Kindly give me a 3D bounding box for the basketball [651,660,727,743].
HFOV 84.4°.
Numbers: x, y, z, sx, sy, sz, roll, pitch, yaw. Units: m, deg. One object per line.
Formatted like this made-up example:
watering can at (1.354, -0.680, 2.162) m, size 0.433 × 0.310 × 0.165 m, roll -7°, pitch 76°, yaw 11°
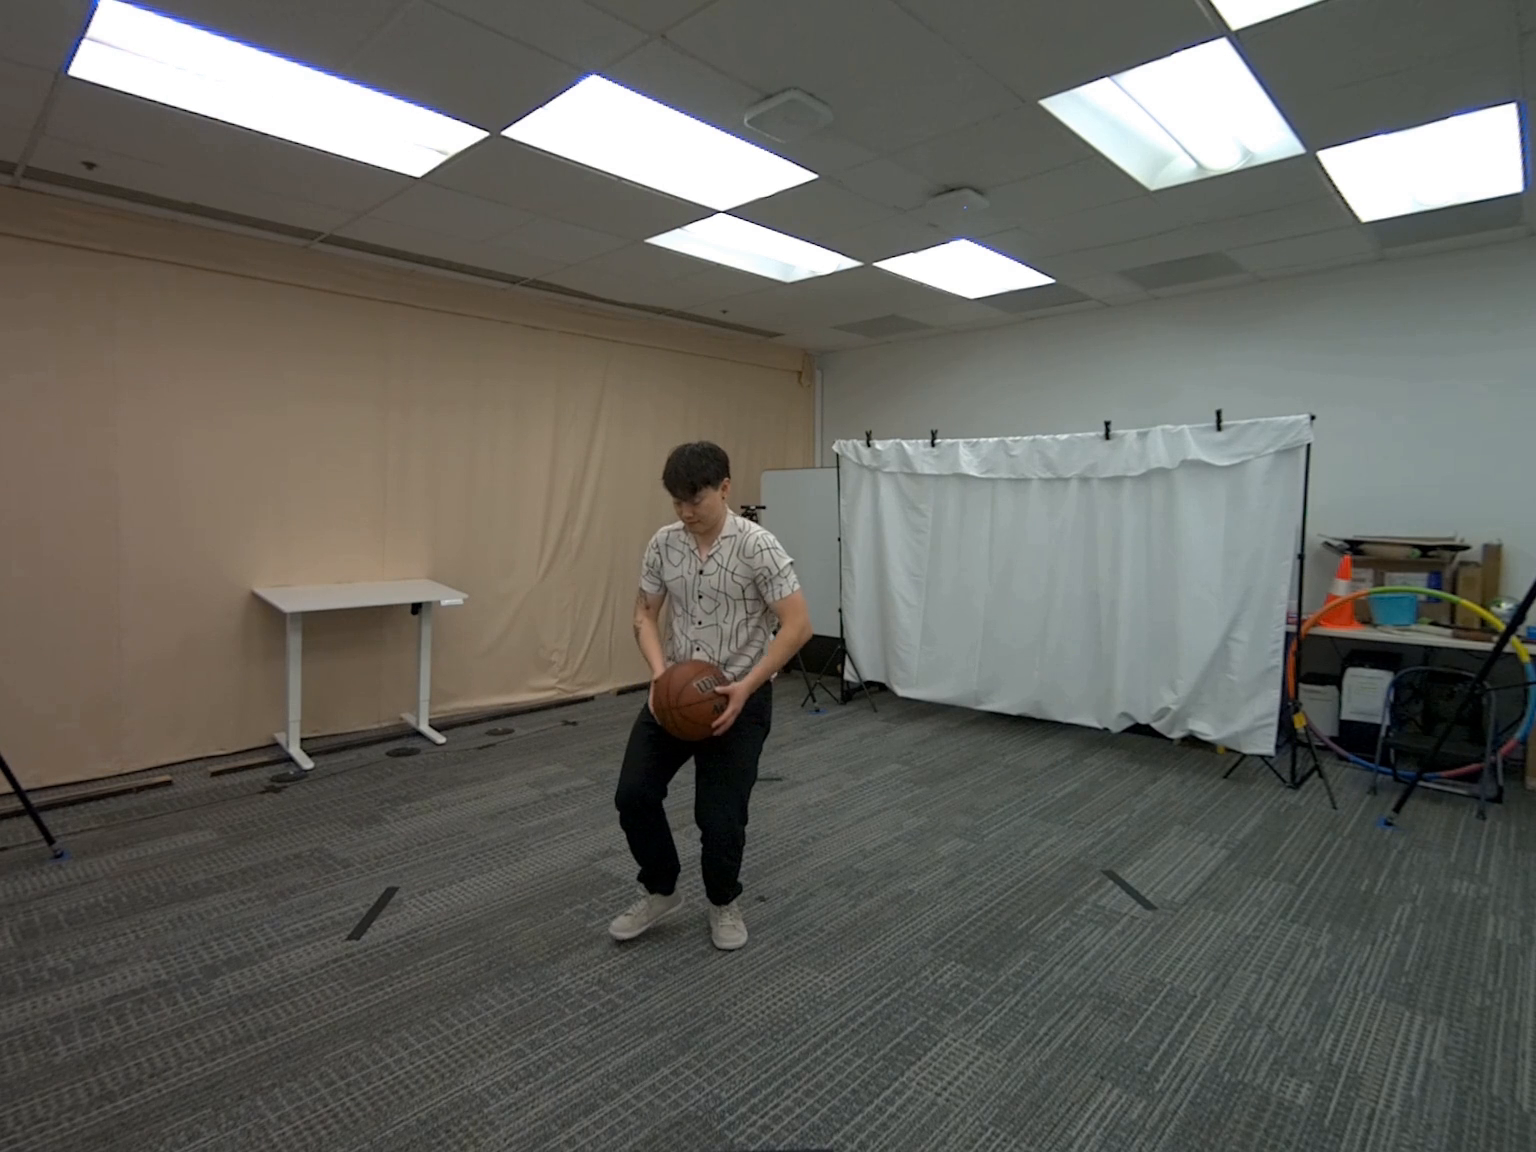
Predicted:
basketball at (-0.228, 0.334, 2.496) m, size 0.236 × 0.235 × 0.237 m, roll 0°, pitch 4°, yaw -2°
